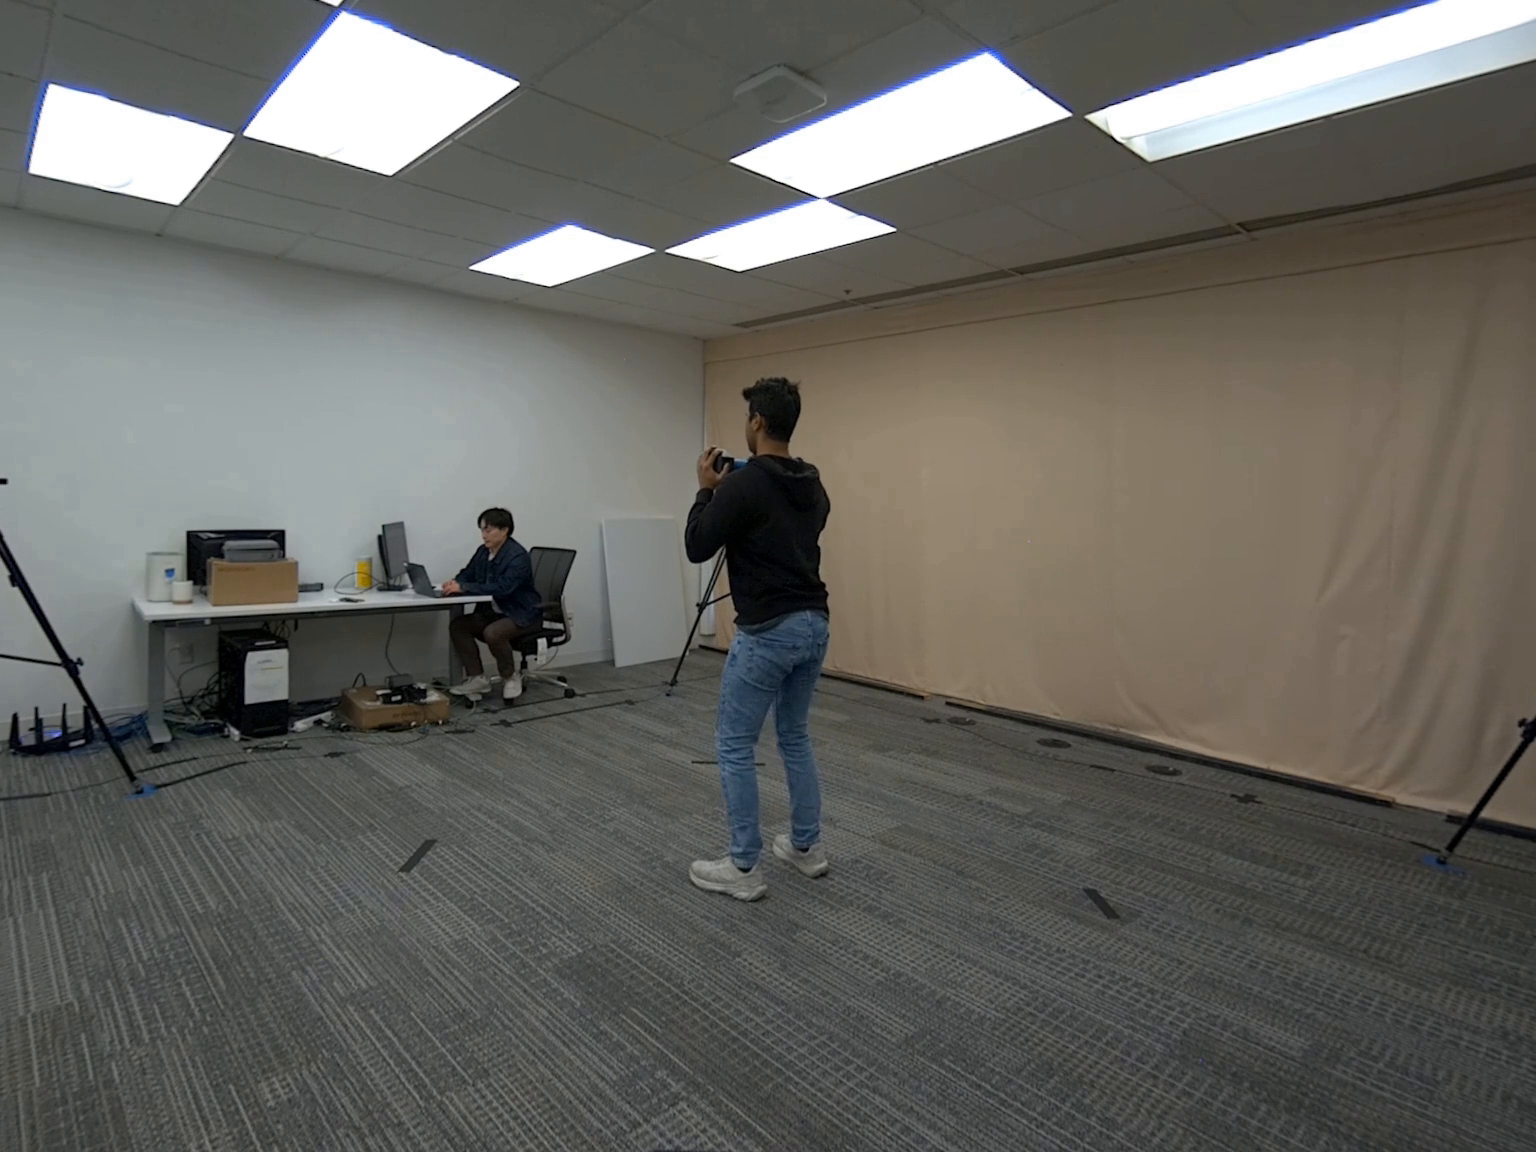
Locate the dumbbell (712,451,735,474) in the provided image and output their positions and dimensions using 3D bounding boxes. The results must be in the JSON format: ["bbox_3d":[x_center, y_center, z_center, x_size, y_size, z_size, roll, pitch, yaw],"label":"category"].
[{"bbox_3d":[-0.103,-0.394,3.165,0.287,0.122,0.111,-1,6,-43],"label":"dumbbell"}]
